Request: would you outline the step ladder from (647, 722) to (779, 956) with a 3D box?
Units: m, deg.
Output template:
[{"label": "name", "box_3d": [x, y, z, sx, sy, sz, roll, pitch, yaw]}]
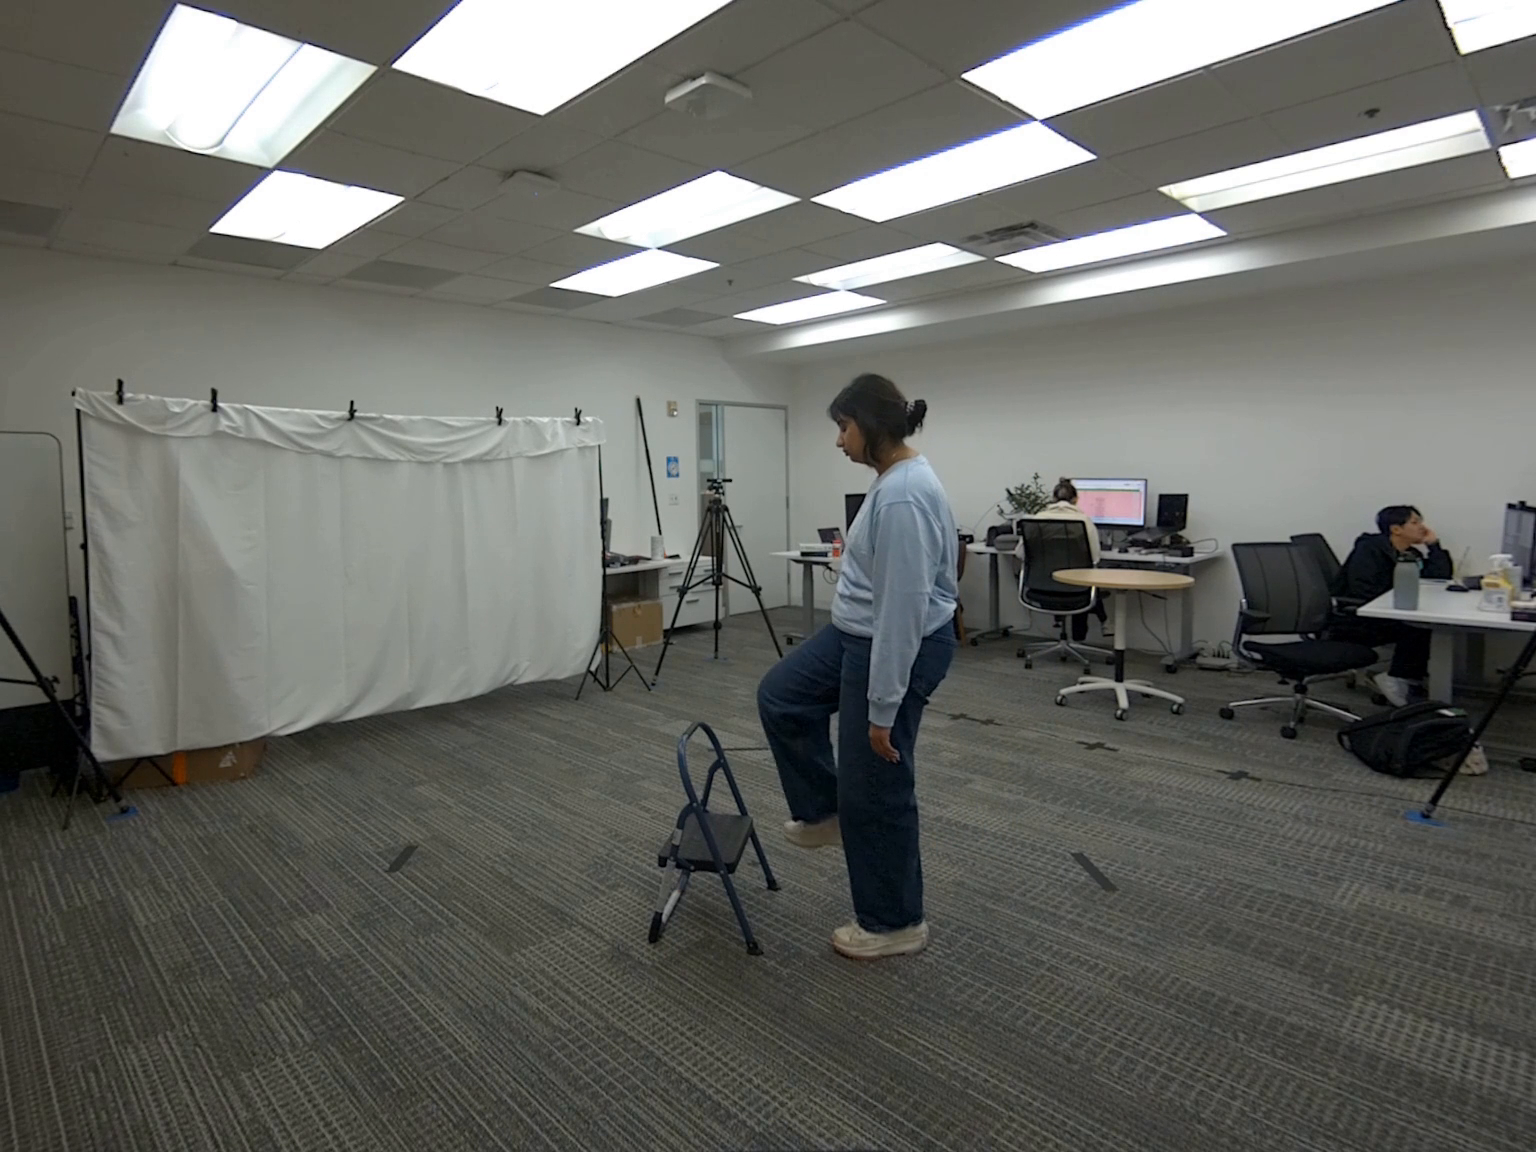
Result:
[{"label": "step ladder", "box_3d": [-0.166, 0.792, 2.731, 0.353, 0.604, 0.428, 1, 5, 10]}]
